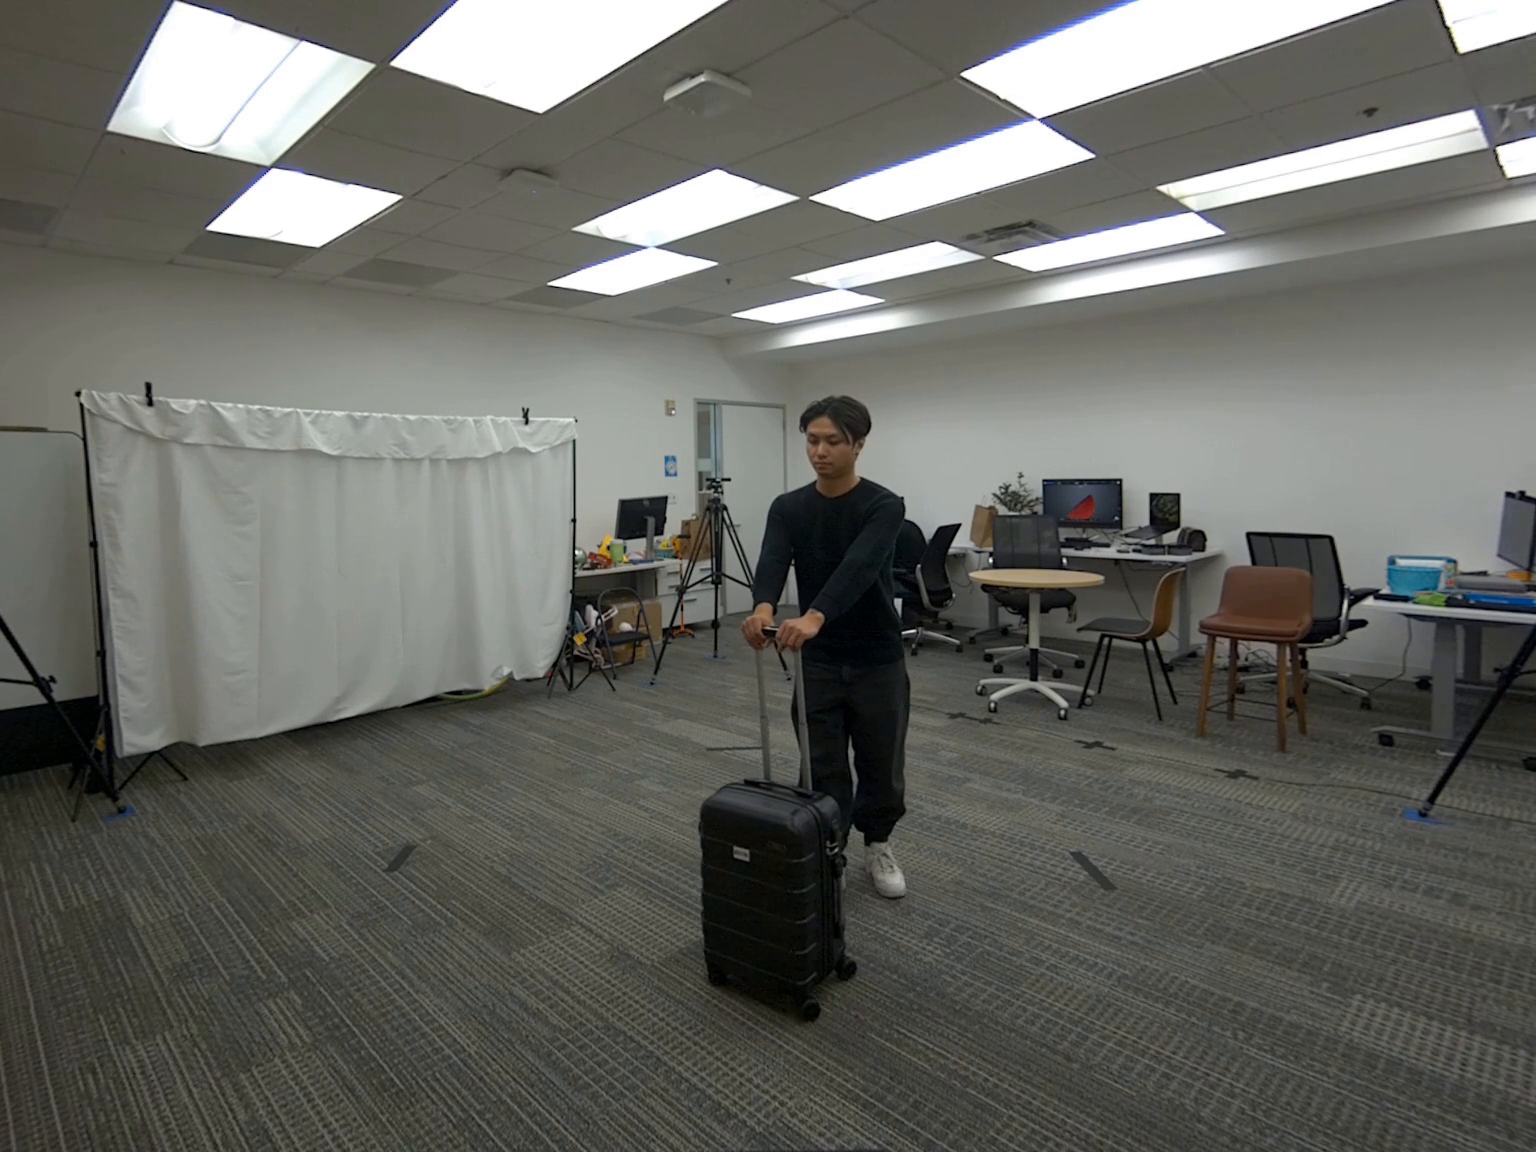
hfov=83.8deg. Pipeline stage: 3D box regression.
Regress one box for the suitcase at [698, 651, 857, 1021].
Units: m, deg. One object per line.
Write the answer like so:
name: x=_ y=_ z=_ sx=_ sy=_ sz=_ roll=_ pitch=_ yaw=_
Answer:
suitcase: x=0.003 y=0.657 z=2.334 sx=0.395 sy=0.973 sz=0.251 roll=1 pitch=7 yaw=35
